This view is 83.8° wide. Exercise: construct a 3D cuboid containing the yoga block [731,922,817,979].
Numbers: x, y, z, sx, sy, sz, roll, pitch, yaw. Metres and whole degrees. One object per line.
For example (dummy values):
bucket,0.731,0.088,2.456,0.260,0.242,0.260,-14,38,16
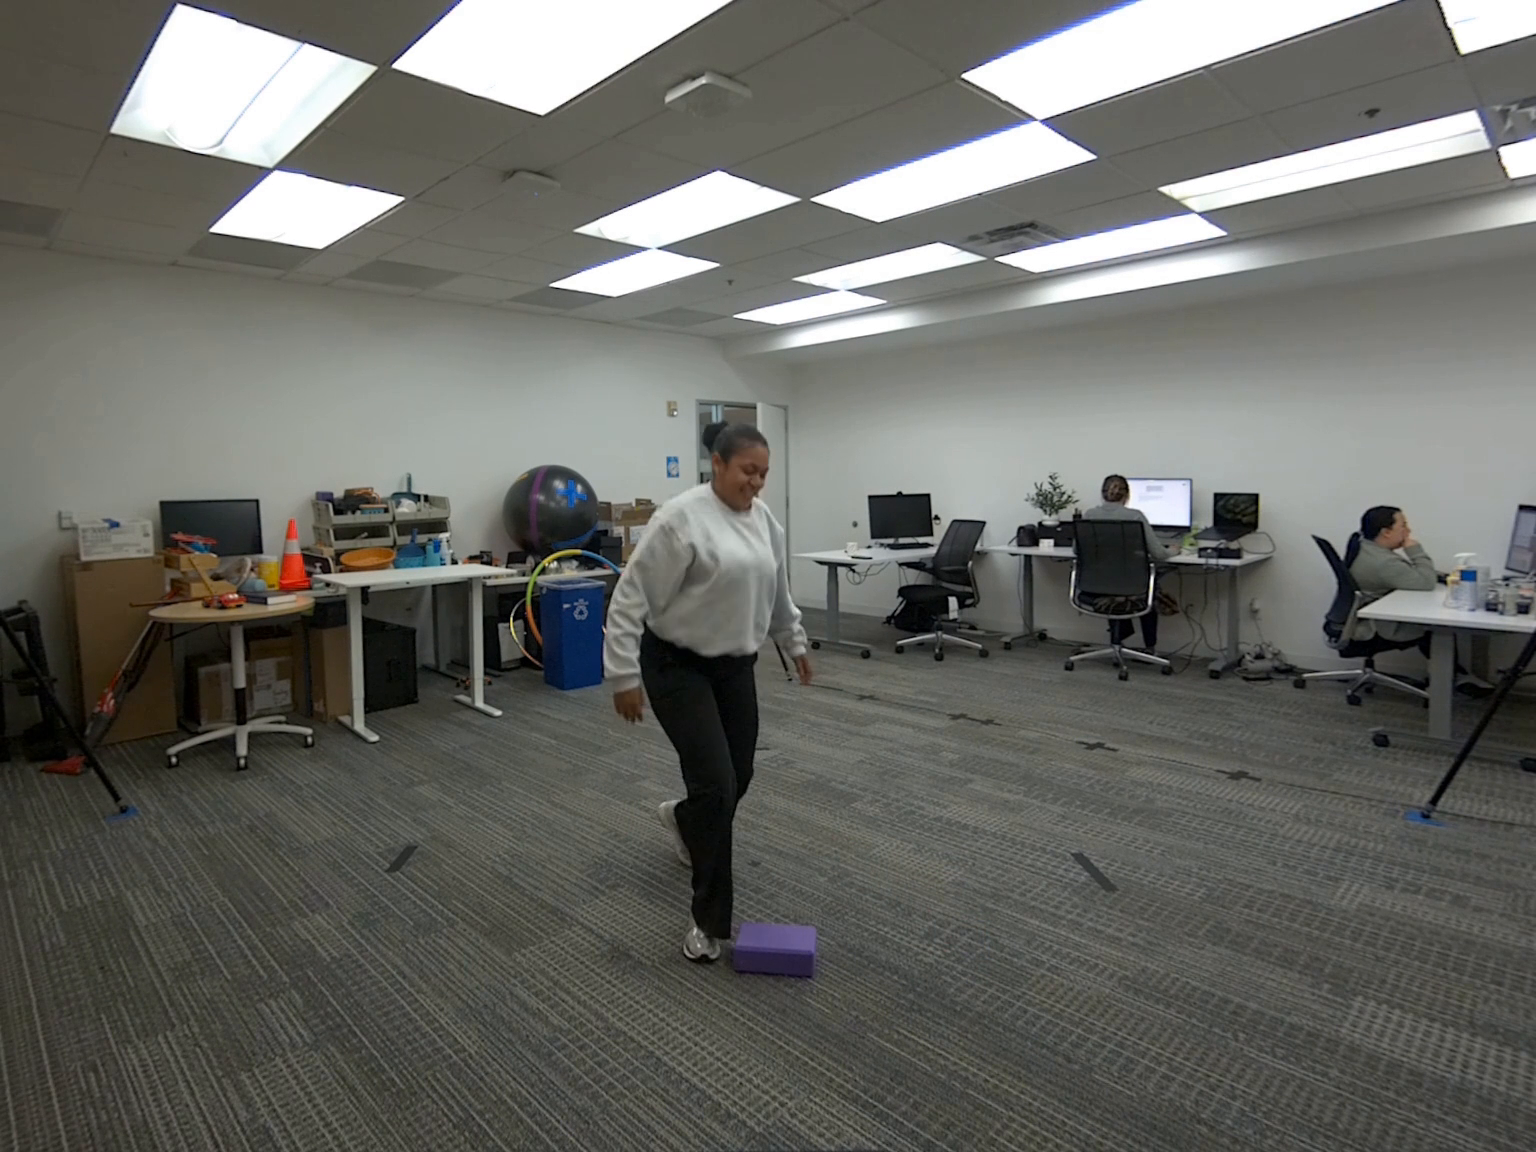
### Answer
yoga block,0.024,1.071,2.473,0.231,0.076,0.148,0,4,9
